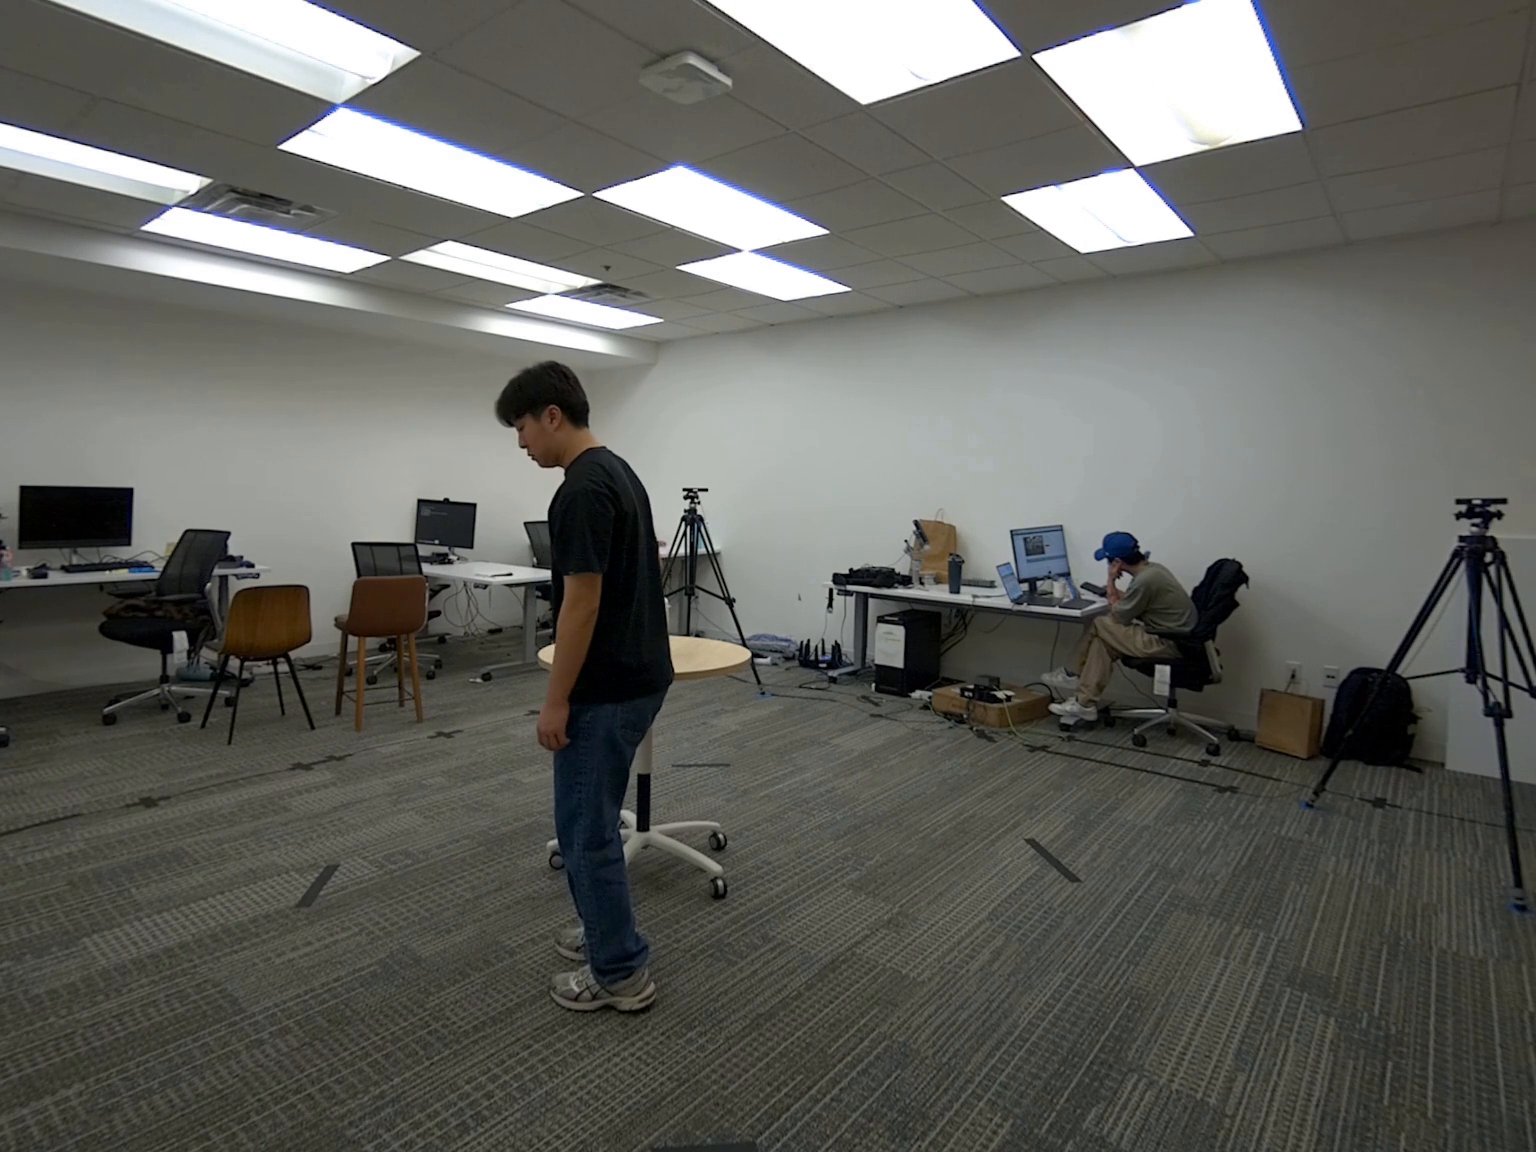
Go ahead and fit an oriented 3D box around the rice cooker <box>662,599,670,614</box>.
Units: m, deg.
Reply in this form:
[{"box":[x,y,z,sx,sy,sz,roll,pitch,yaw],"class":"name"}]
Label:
[{"box":[-0.472,0.154,3.085,0.225,0.232,0.214,5,4,41],"class":"rice cooker"}]
